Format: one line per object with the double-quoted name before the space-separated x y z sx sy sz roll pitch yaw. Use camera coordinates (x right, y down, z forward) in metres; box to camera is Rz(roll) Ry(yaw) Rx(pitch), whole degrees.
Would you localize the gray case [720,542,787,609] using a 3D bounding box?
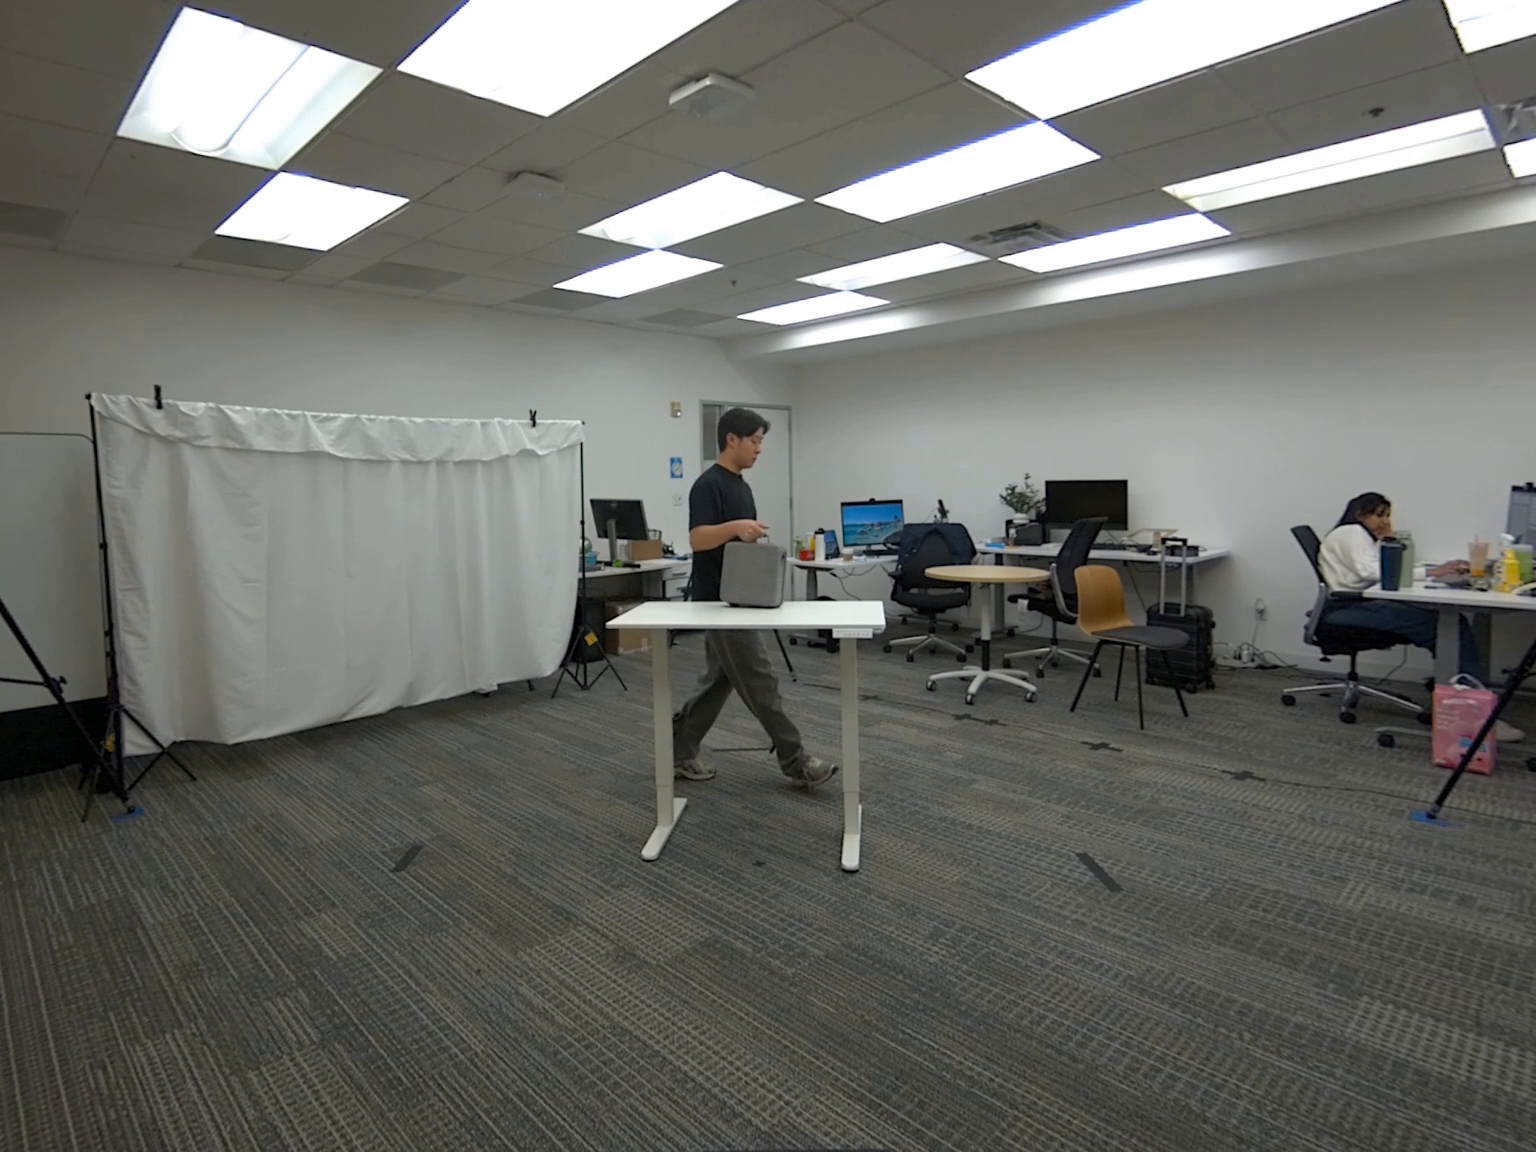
"gray case" -0.053 -0.017 3.463 0.269 0.288 0.100 2 -4 23
